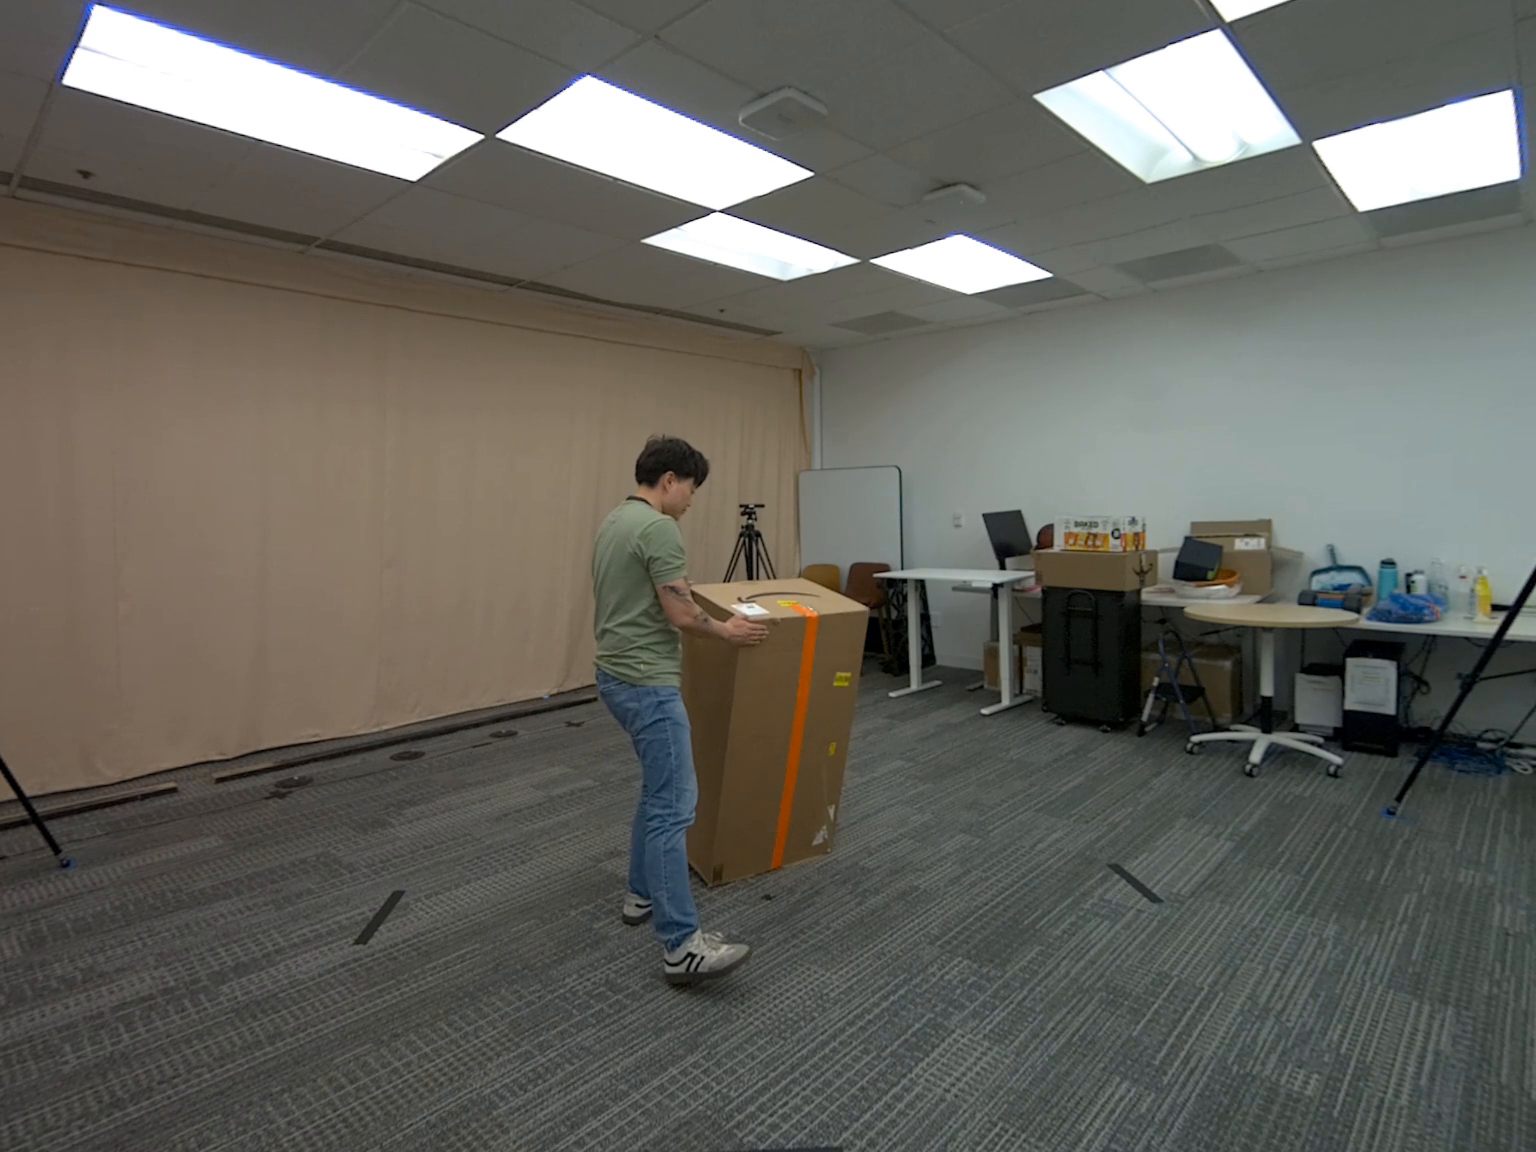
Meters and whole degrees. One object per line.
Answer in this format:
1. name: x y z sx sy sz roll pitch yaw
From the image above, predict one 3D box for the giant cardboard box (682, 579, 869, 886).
1. giant cardboard box: -0.028 0.571 3.266 0.561 1.019 0.441 -2 16 -34
